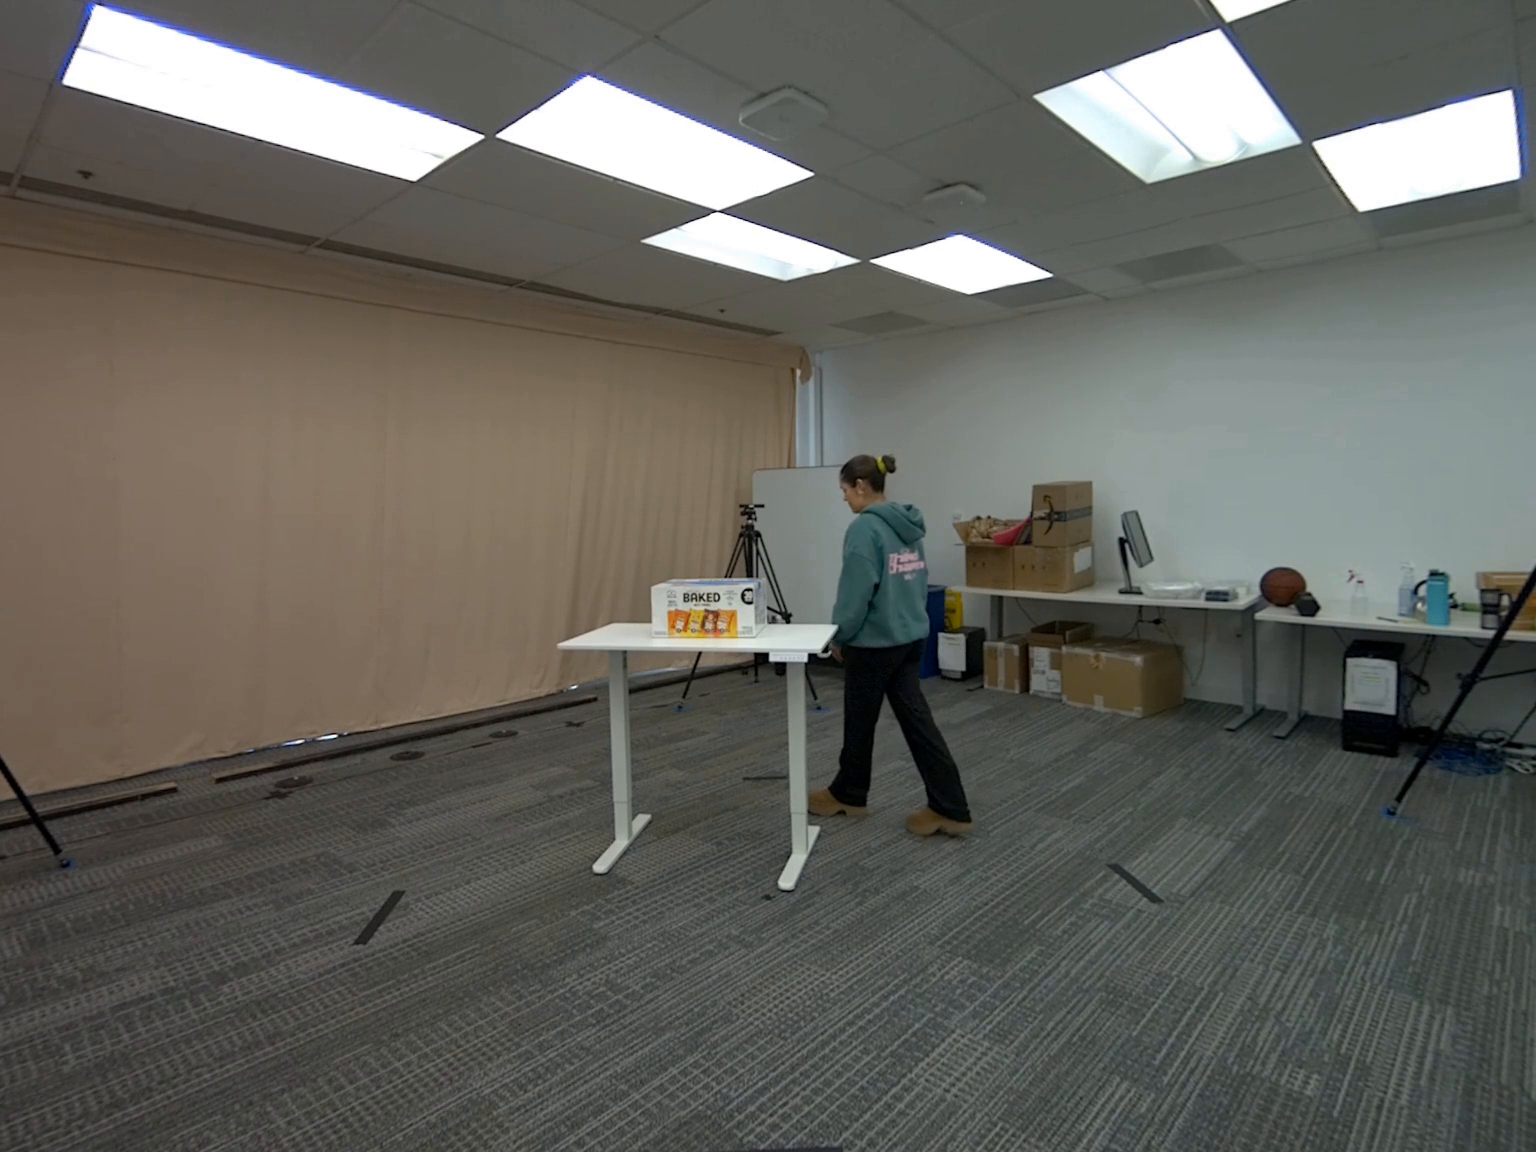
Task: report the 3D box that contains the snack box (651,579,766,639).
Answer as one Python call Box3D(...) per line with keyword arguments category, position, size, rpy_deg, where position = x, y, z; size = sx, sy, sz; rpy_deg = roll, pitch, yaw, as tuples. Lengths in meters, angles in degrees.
Box3D(category="snack box", position=(-0.228, 0.126, 3.416), size=(0.410, 0.205, 0.337), rpy_deg=(-1, 4, 10))
